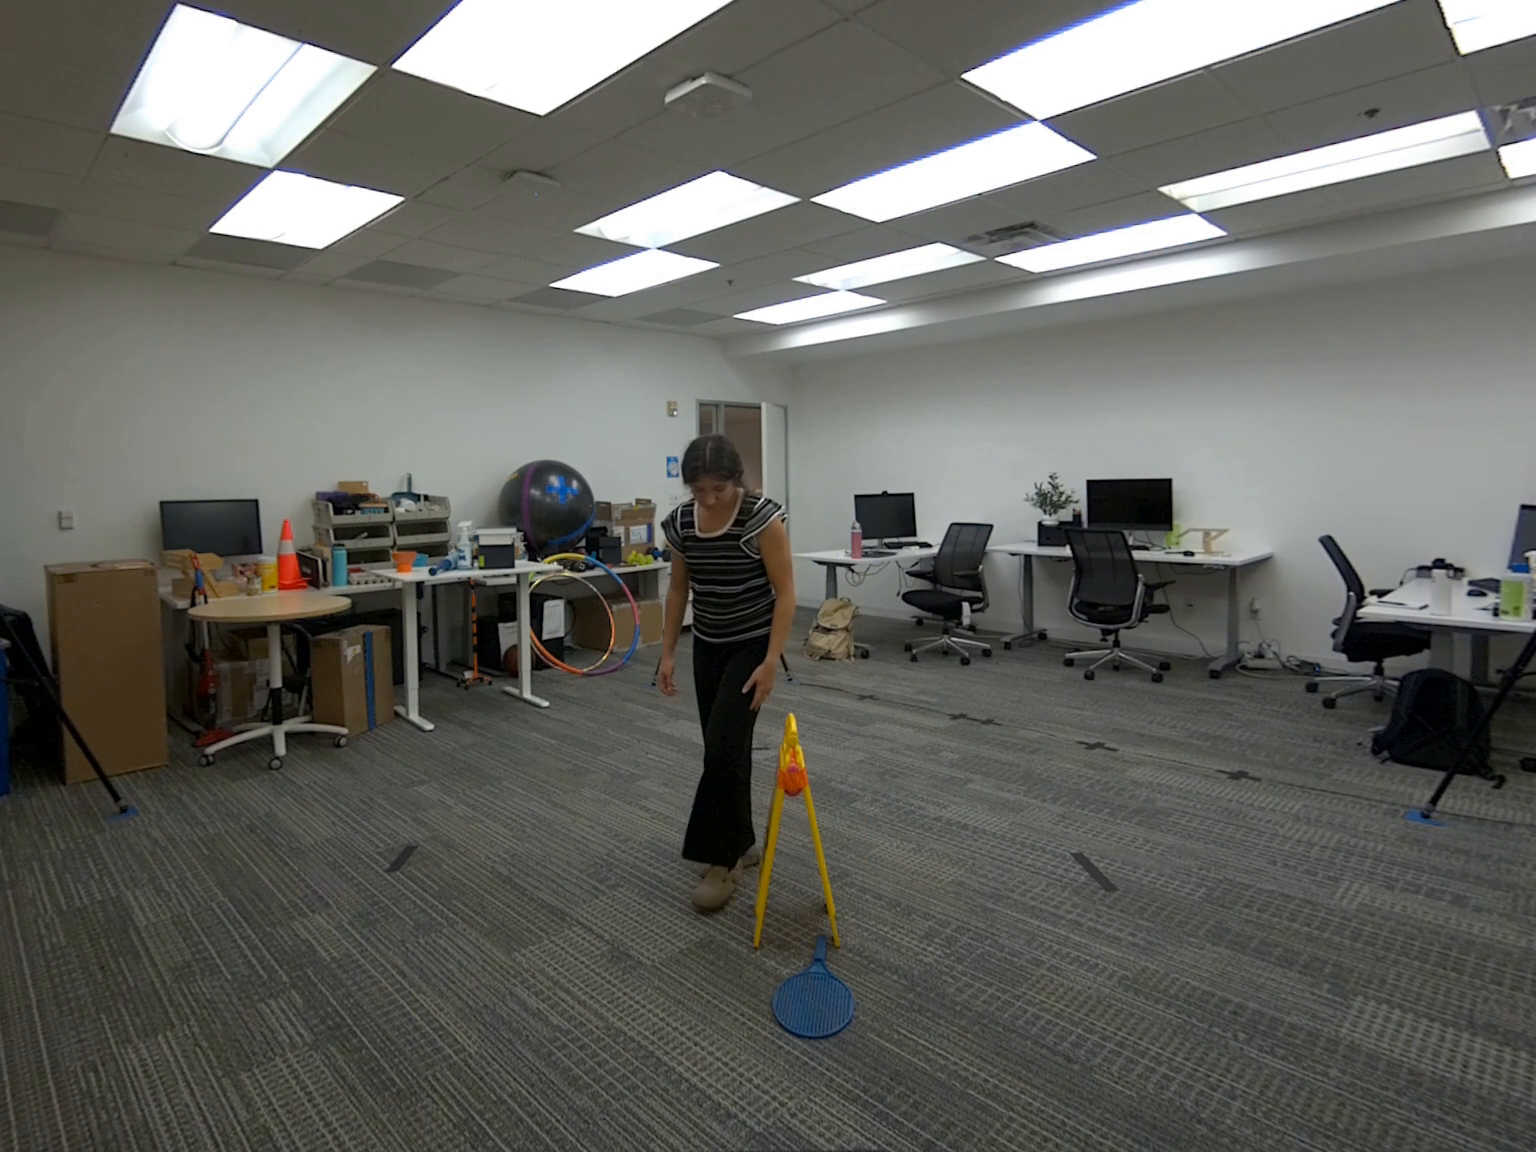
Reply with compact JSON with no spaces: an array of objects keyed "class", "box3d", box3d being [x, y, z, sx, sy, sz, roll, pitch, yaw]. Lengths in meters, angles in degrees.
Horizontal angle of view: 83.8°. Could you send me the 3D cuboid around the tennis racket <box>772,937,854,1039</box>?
[{"class":"tennis racket","box3d":[0.139,1.119,2.347,0.216,0.031,0.432,0,8,8]}]
